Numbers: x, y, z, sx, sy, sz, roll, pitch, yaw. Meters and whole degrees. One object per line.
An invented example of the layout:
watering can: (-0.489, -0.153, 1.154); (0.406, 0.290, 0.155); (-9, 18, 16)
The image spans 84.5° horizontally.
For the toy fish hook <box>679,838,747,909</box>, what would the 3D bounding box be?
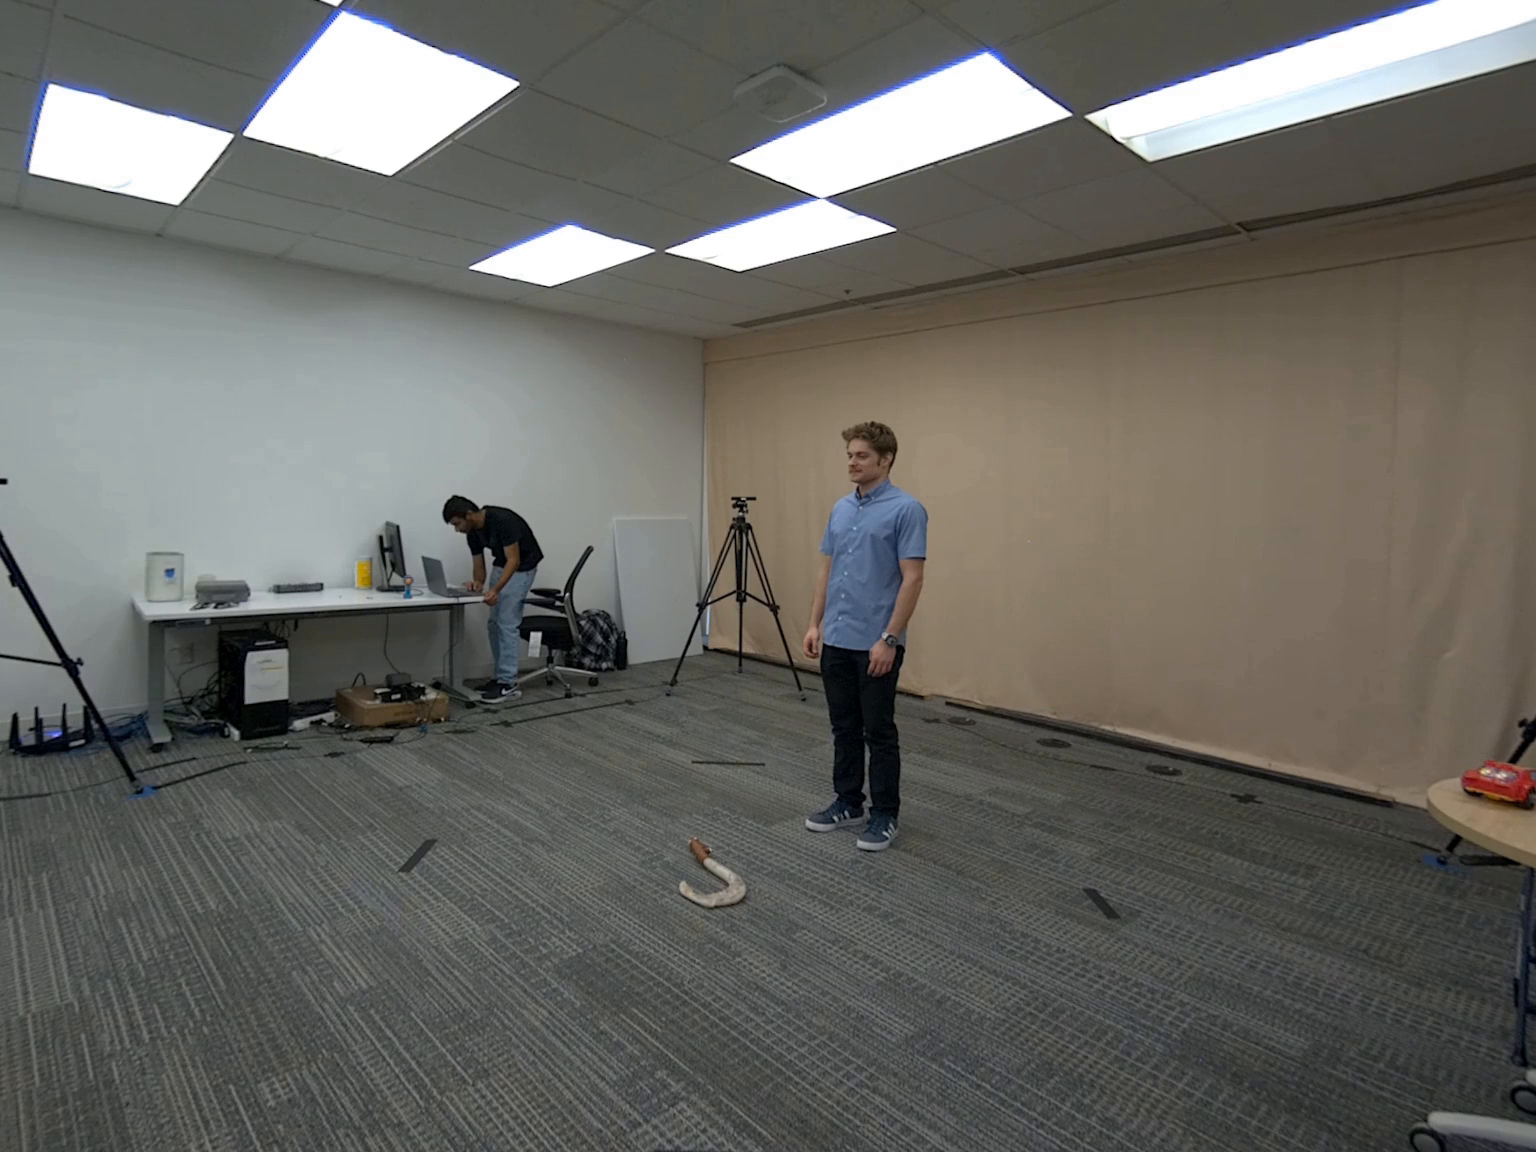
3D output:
toy fish hook: (-0.252, 1.084, 3.093); (0.221, 0.048, 0.516); (1, 5, -22)
